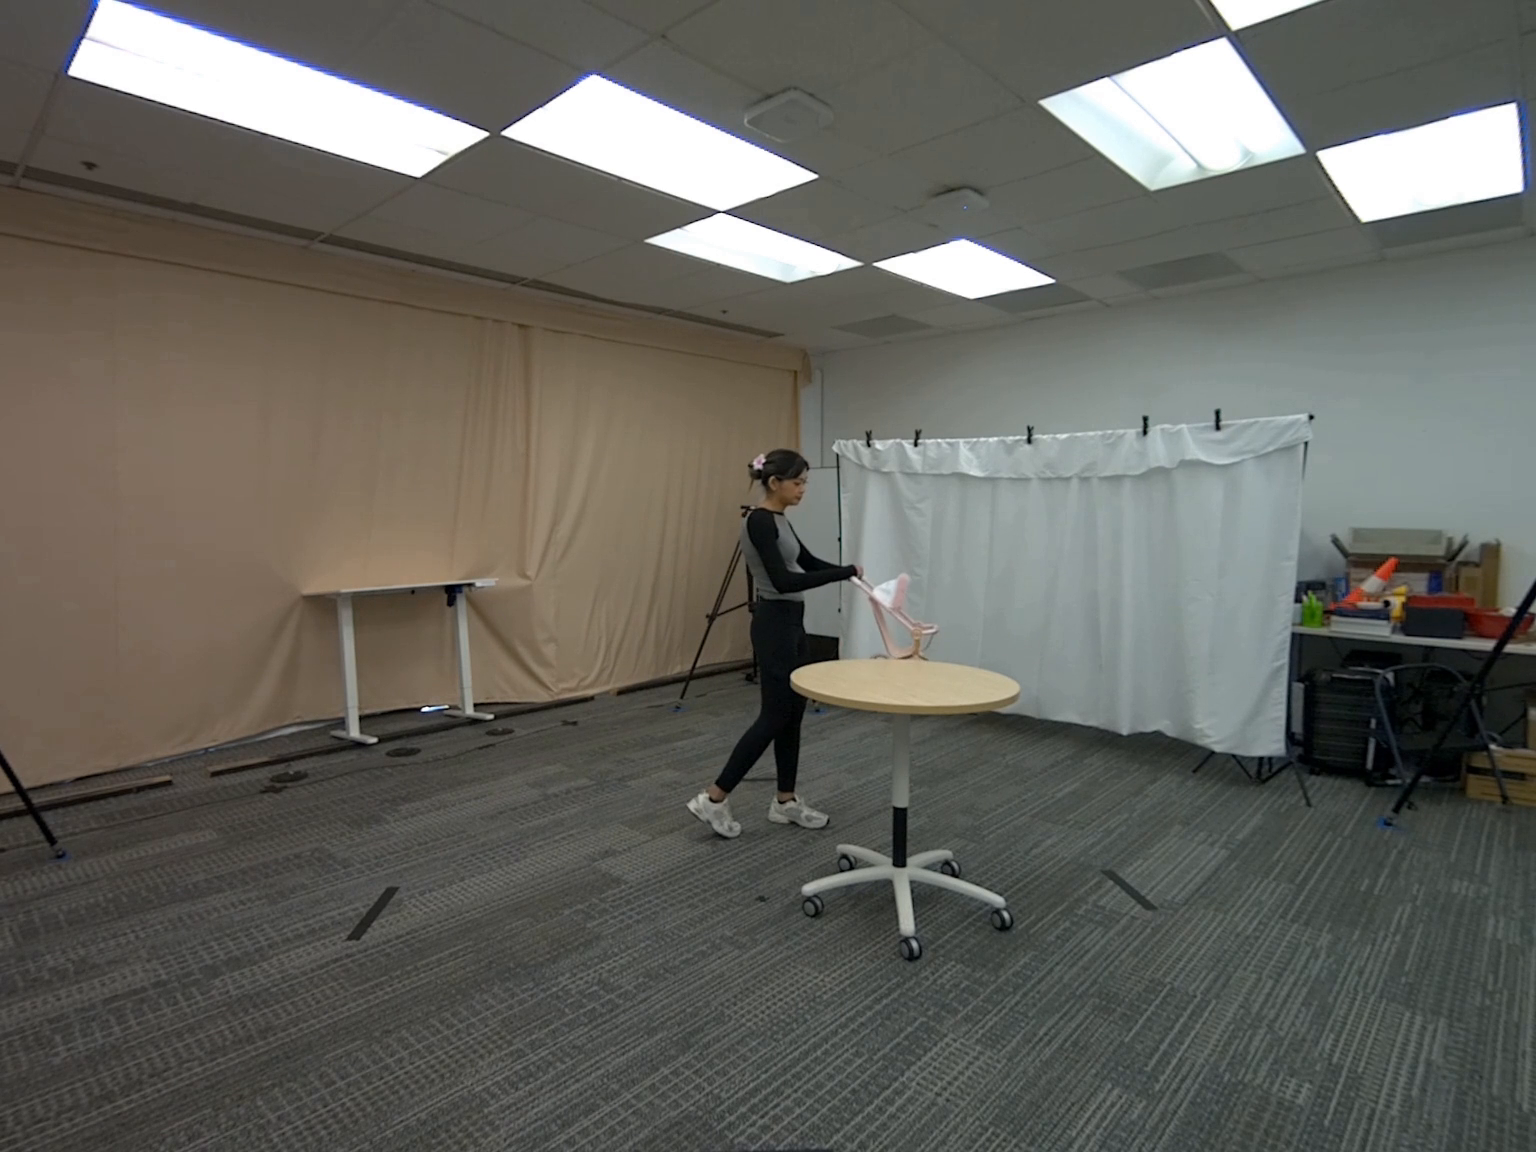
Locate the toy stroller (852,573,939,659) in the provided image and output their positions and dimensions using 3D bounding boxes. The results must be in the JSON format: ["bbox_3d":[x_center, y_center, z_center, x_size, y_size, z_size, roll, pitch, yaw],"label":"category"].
[{"bbox_3d":[0.541,0.229,3.491,0.348,0.535,0.276,-7,0,20],"label":"toy stroller"}]
